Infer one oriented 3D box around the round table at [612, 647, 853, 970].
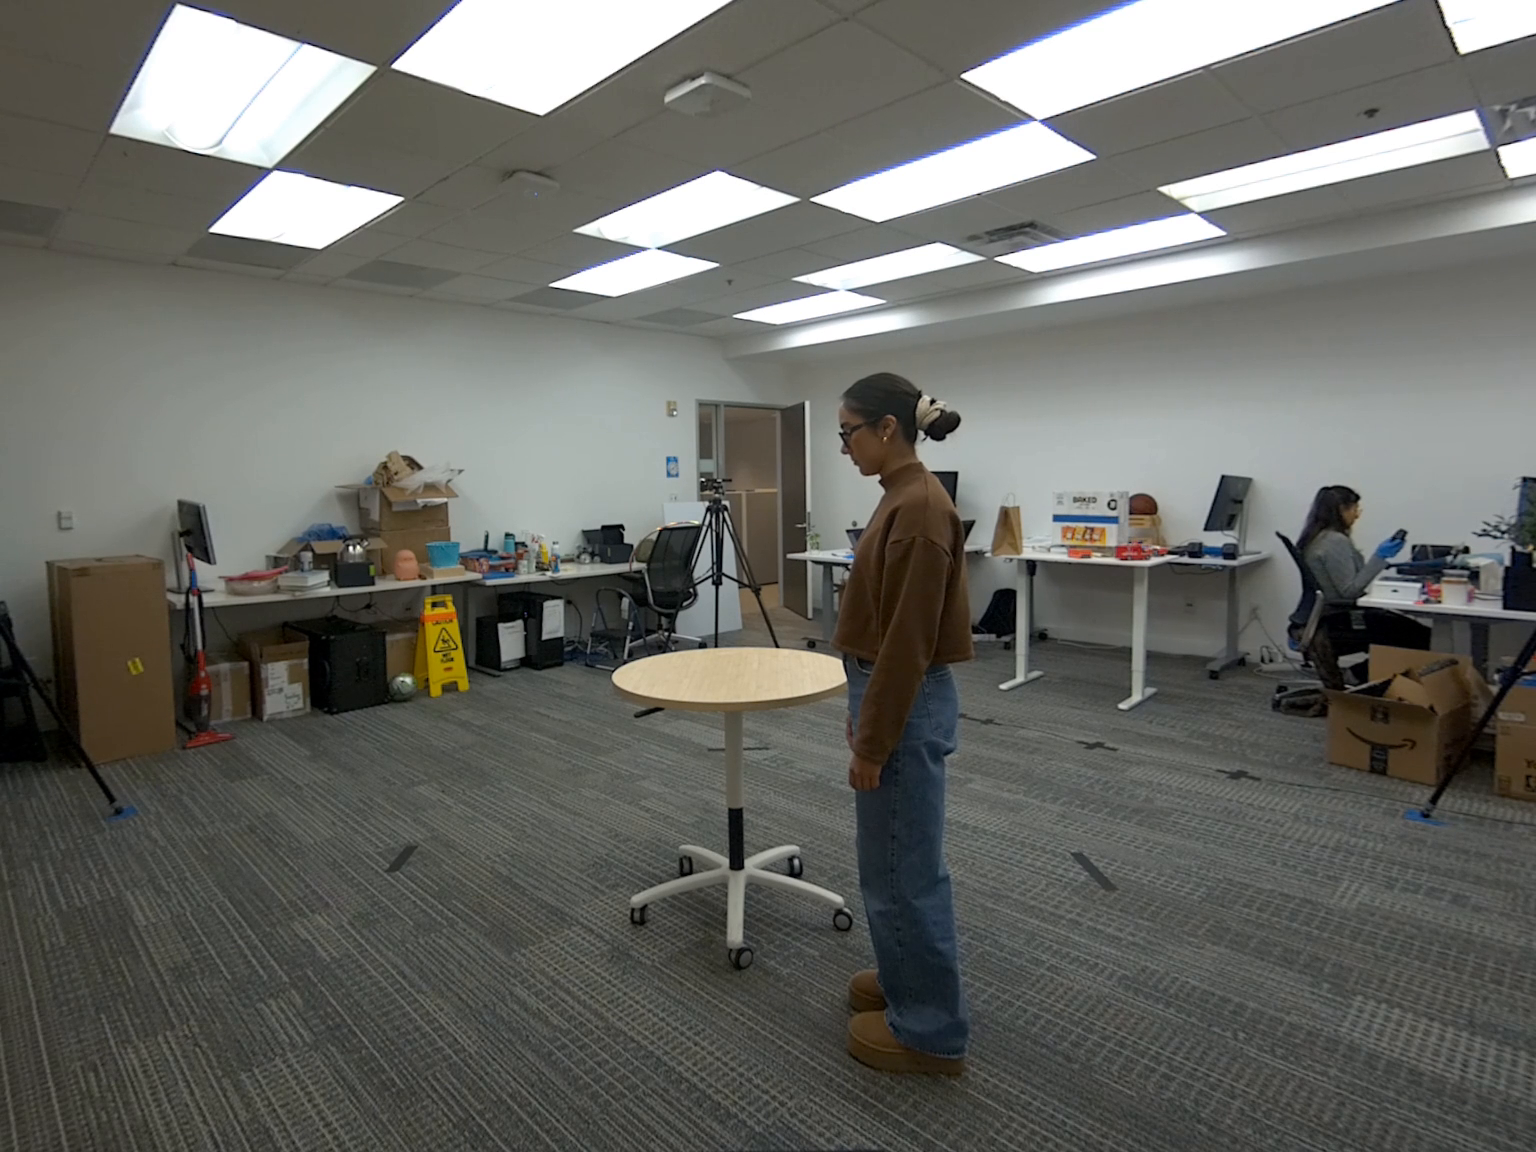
[{"bbox_3d":[-0.105,0.696,2.757,0.763,0.791,0.768,-1,5,-2],"label":"round table"}]
